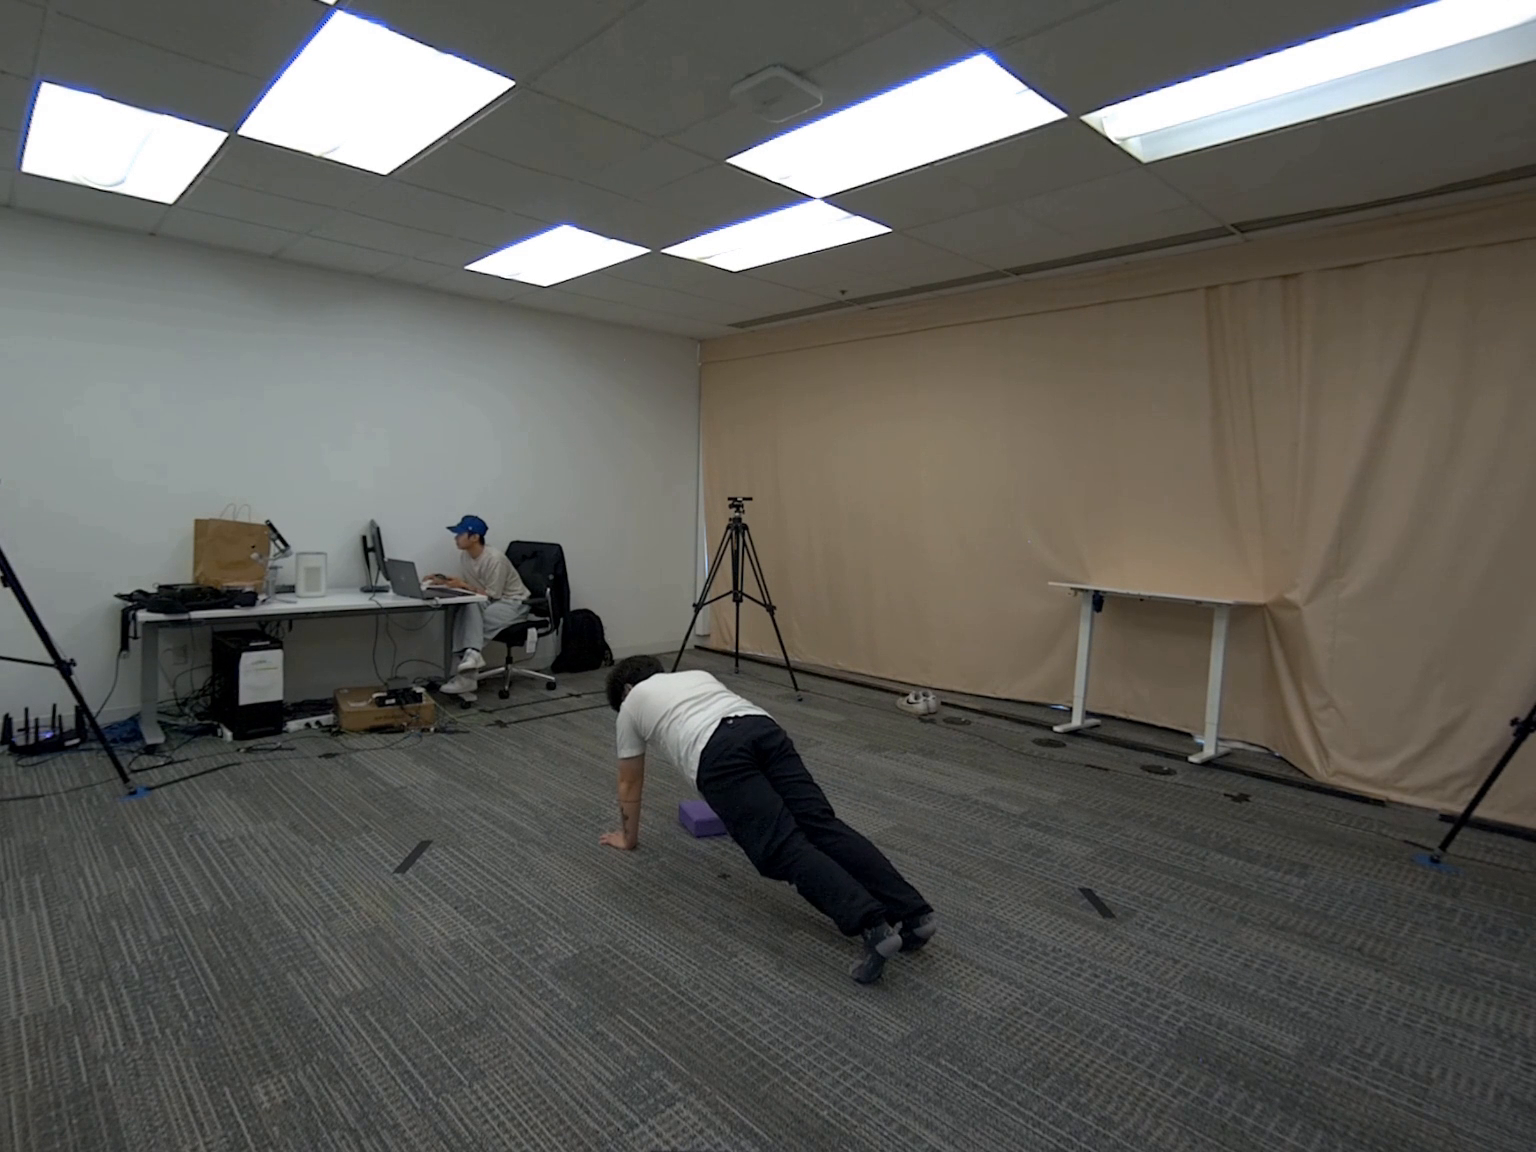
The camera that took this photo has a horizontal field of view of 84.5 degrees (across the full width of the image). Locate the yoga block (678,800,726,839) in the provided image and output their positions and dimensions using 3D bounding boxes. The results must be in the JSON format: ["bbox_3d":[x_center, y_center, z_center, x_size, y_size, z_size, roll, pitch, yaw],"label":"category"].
[{"bbox_3d":[-0.282,1.020,3.565,0.146,0.076,0.234,0,4,-23],"label":"yoga block"}]
